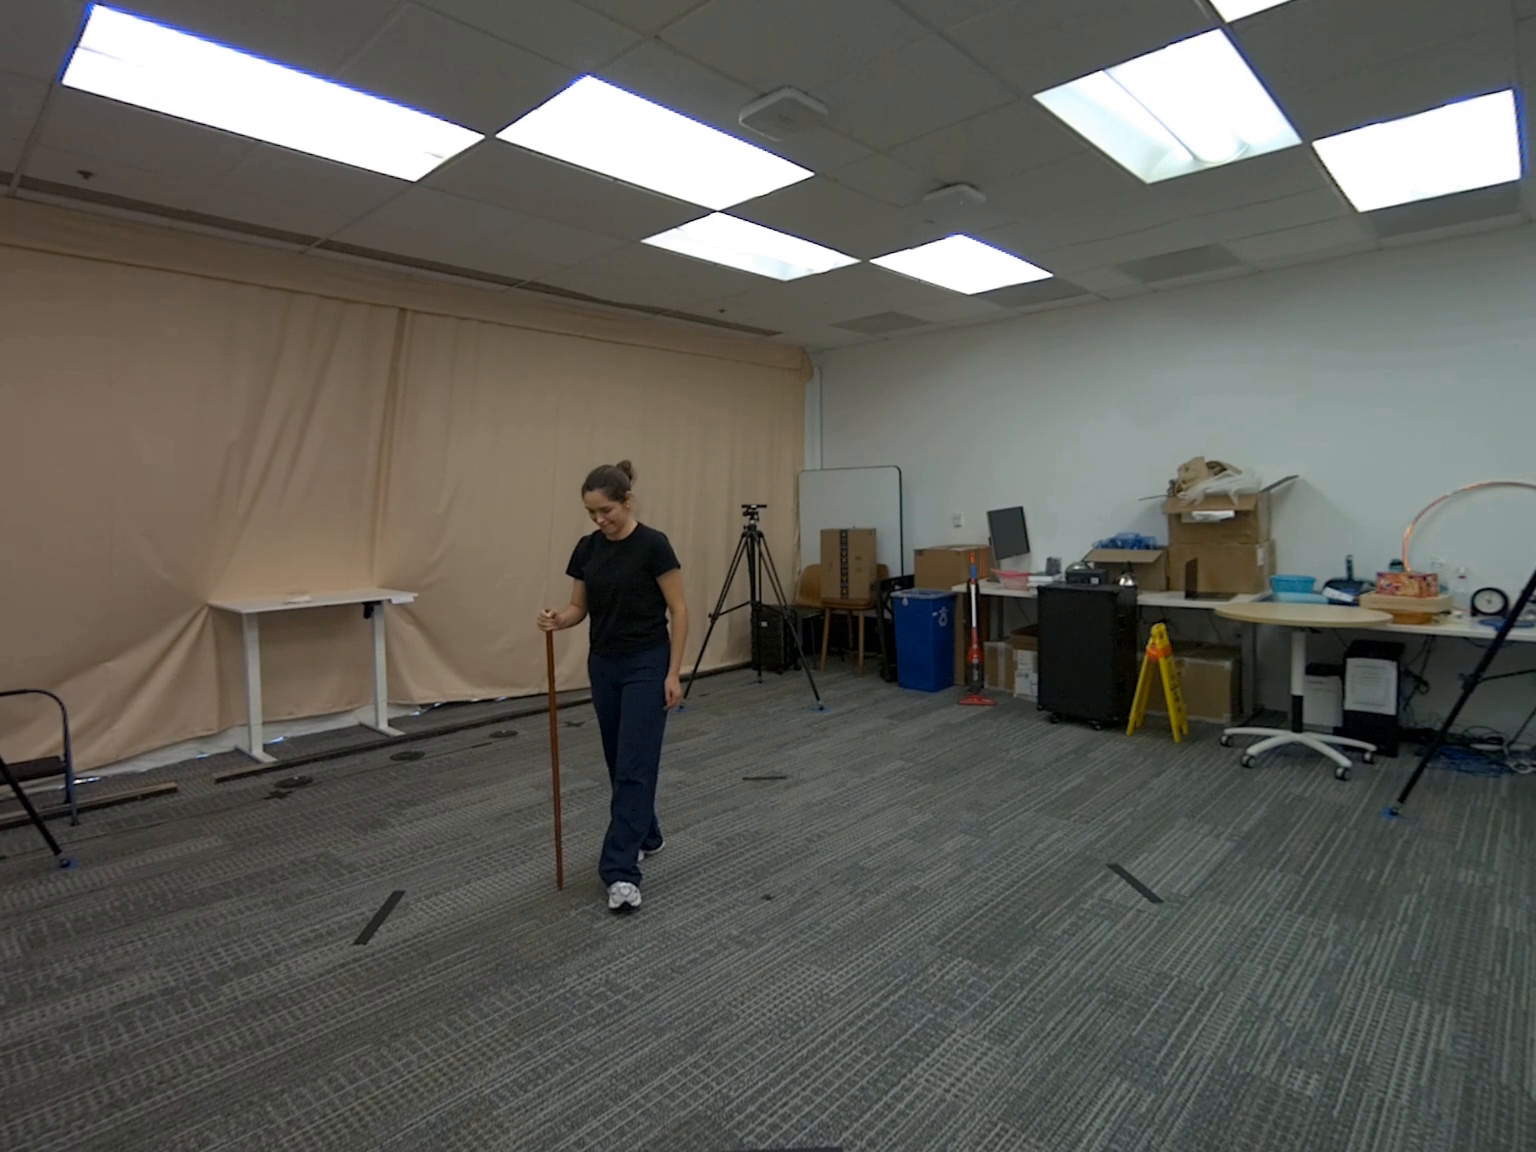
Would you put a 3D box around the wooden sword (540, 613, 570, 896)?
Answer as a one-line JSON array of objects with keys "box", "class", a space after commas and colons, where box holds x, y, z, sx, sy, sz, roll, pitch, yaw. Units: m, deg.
[{"box": [-0.770, 0.641, 3.051, 0.053, 1.022, 0.023, 1, 5, 31], "class": "wooden sword"}]
